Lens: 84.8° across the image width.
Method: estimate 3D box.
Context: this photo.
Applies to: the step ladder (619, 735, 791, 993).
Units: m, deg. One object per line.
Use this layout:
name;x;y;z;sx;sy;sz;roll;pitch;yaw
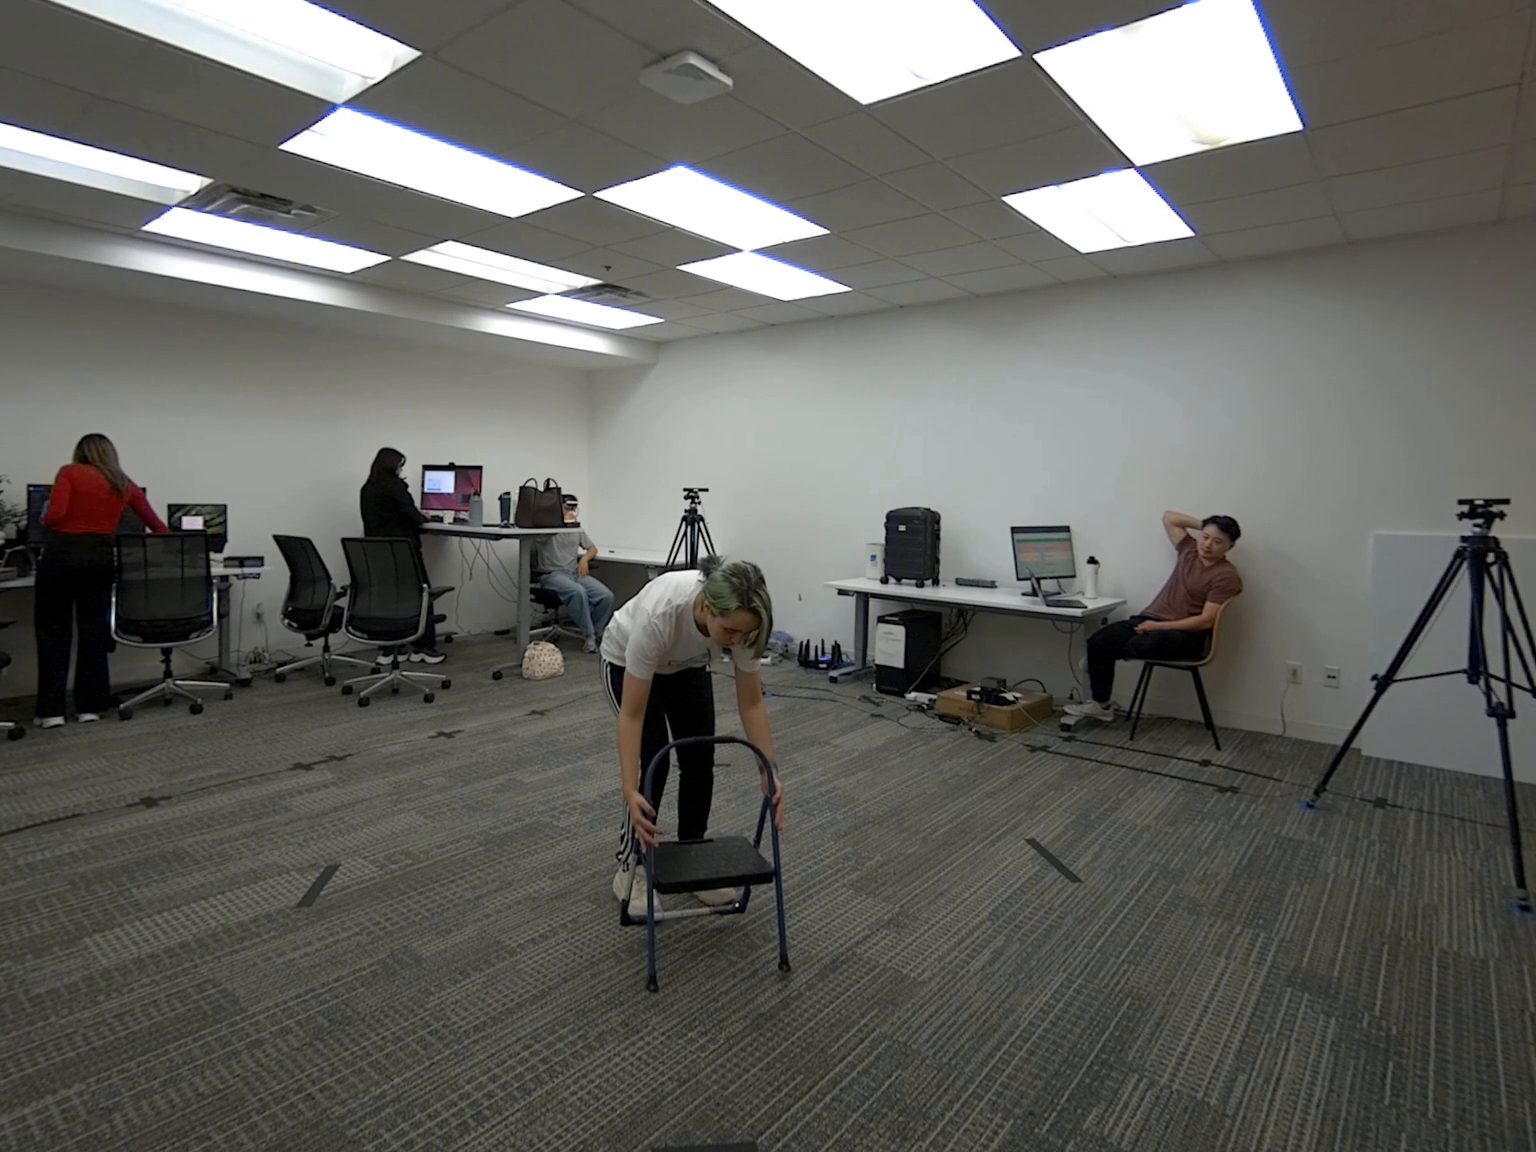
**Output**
step ladder;-0.173;0.791;2.482;0.420;0.604;0.359;3;5;-24
